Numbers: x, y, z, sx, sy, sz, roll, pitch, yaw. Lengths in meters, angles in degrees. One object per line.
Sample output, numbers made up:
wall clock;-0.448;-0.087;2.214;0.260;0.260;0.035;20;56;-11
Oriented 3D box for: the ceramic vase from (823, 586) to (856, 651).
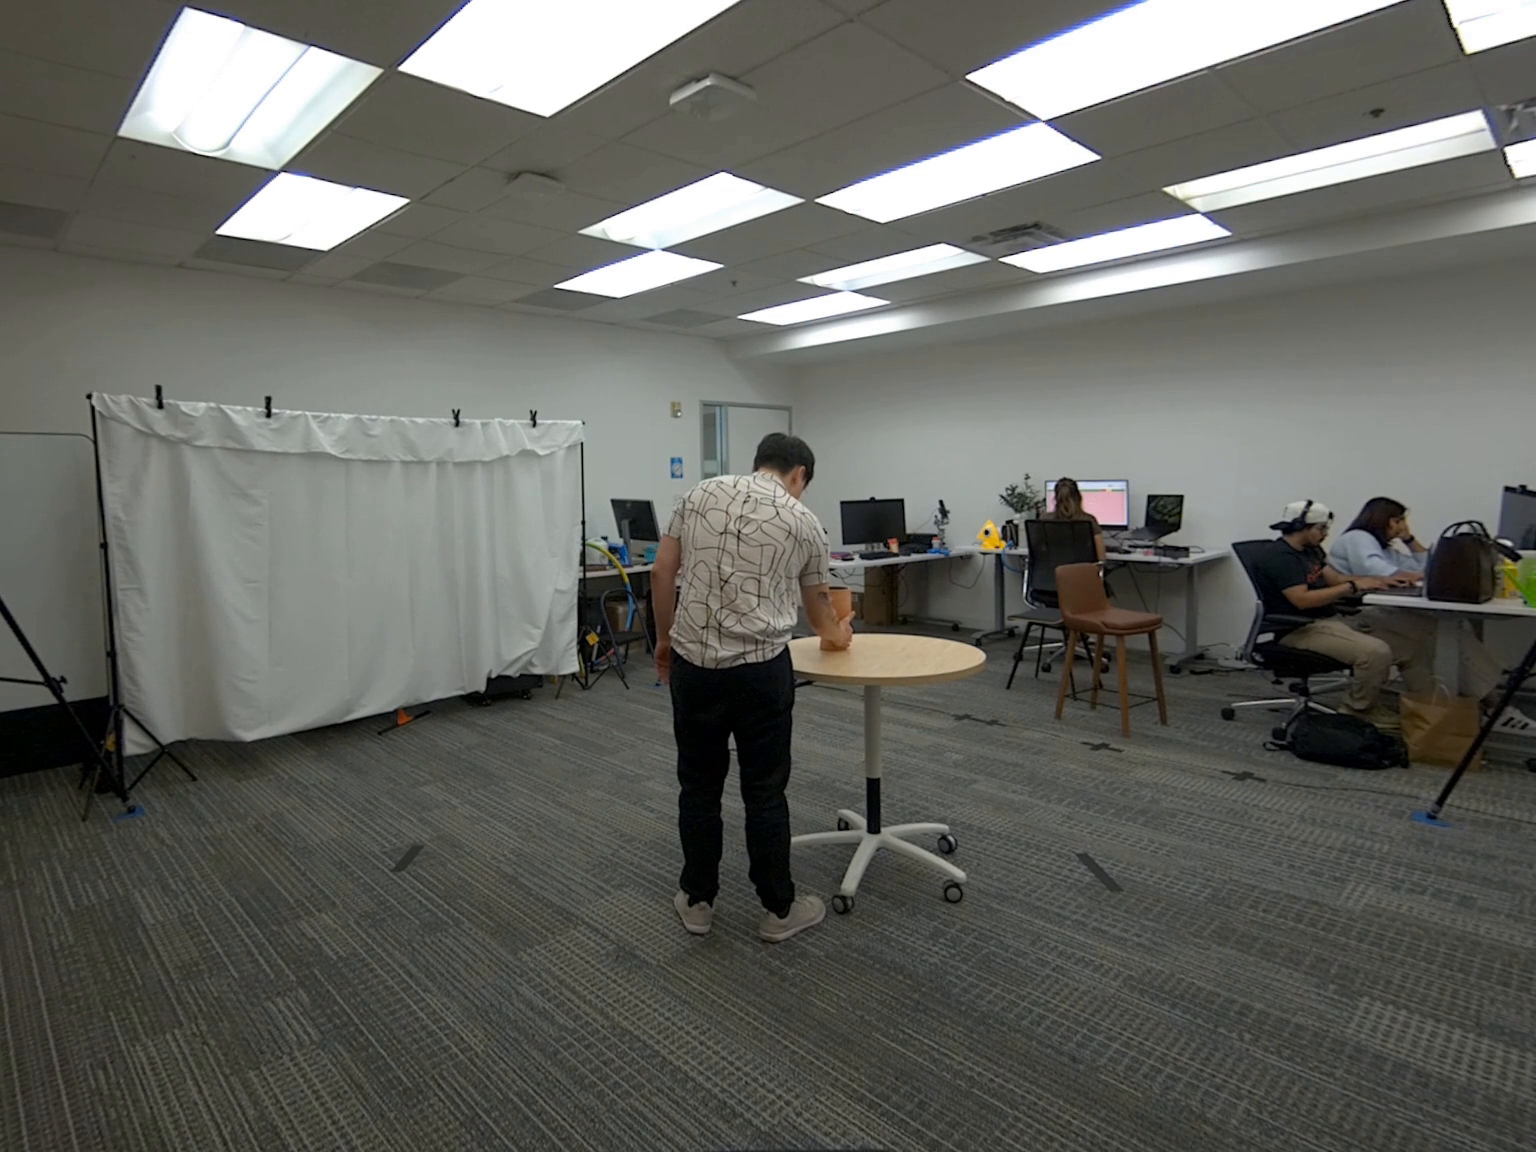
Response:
ceramic vase;0.241;0.155;3.088;0.155;0.219;0.138;-3;4;-35
